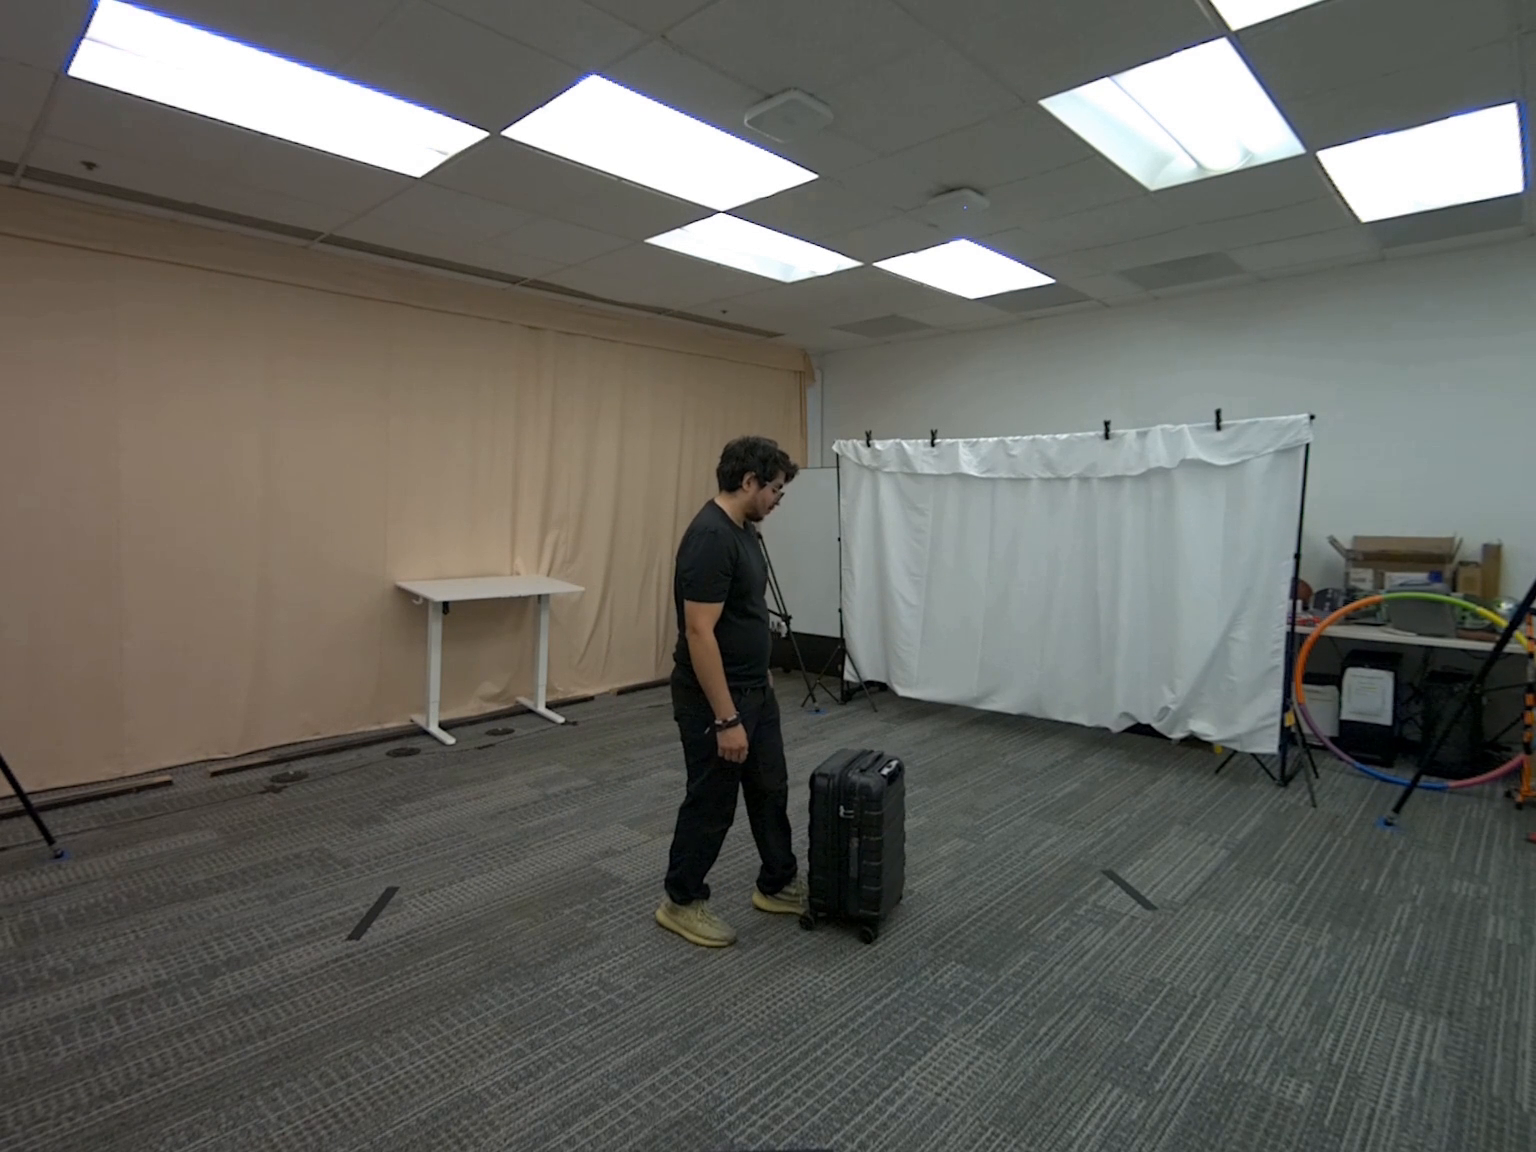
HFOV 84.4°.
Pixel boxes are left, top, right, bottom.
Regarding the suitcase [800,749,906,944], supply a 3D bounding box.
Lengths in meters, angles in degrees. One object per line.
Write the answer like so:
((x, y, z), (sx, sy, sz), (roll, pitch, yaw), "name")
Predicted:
((0.305, 0.877, 2.835), (0.255, 0.548, 0.367), (2, 5, 24), "suitcase")
